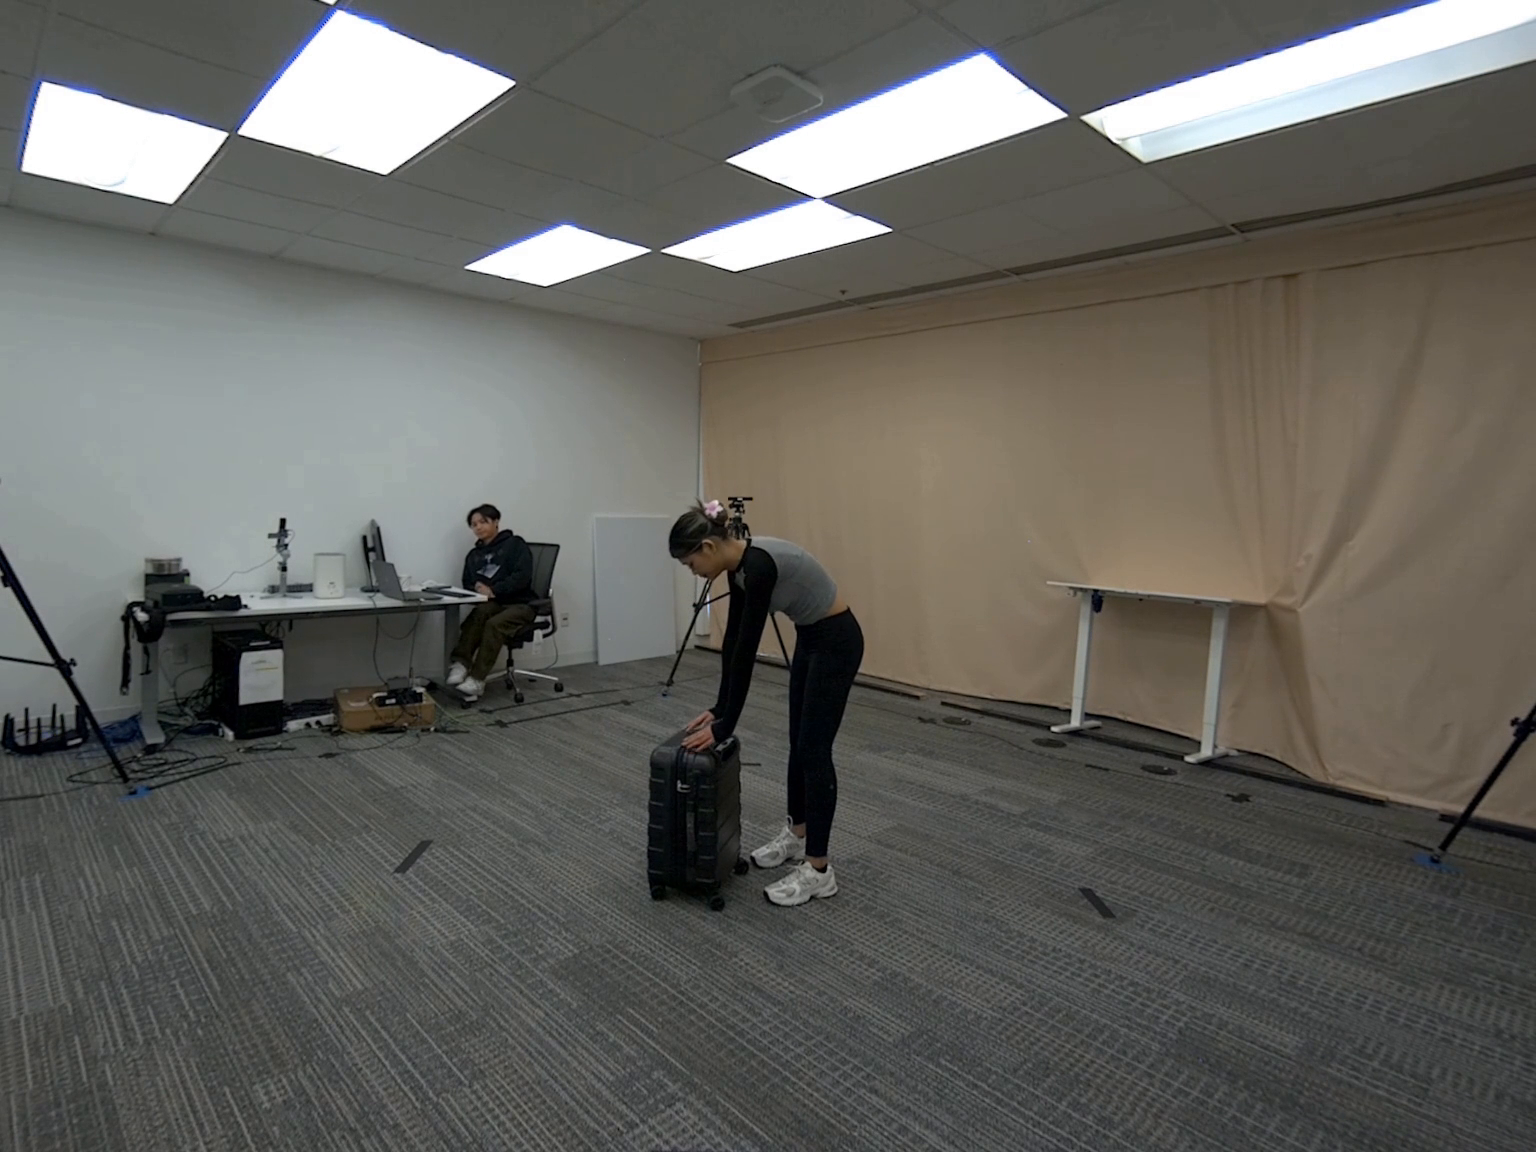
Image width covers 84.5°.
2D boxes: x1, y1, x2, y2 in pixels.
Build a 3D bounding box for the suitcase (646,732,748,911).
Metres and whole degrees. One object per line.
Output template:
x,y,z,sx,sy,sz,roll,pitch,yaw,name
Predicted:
-0.262,0.839,3.004,0.252,0.548,0.371,1,4,18,suitcase
